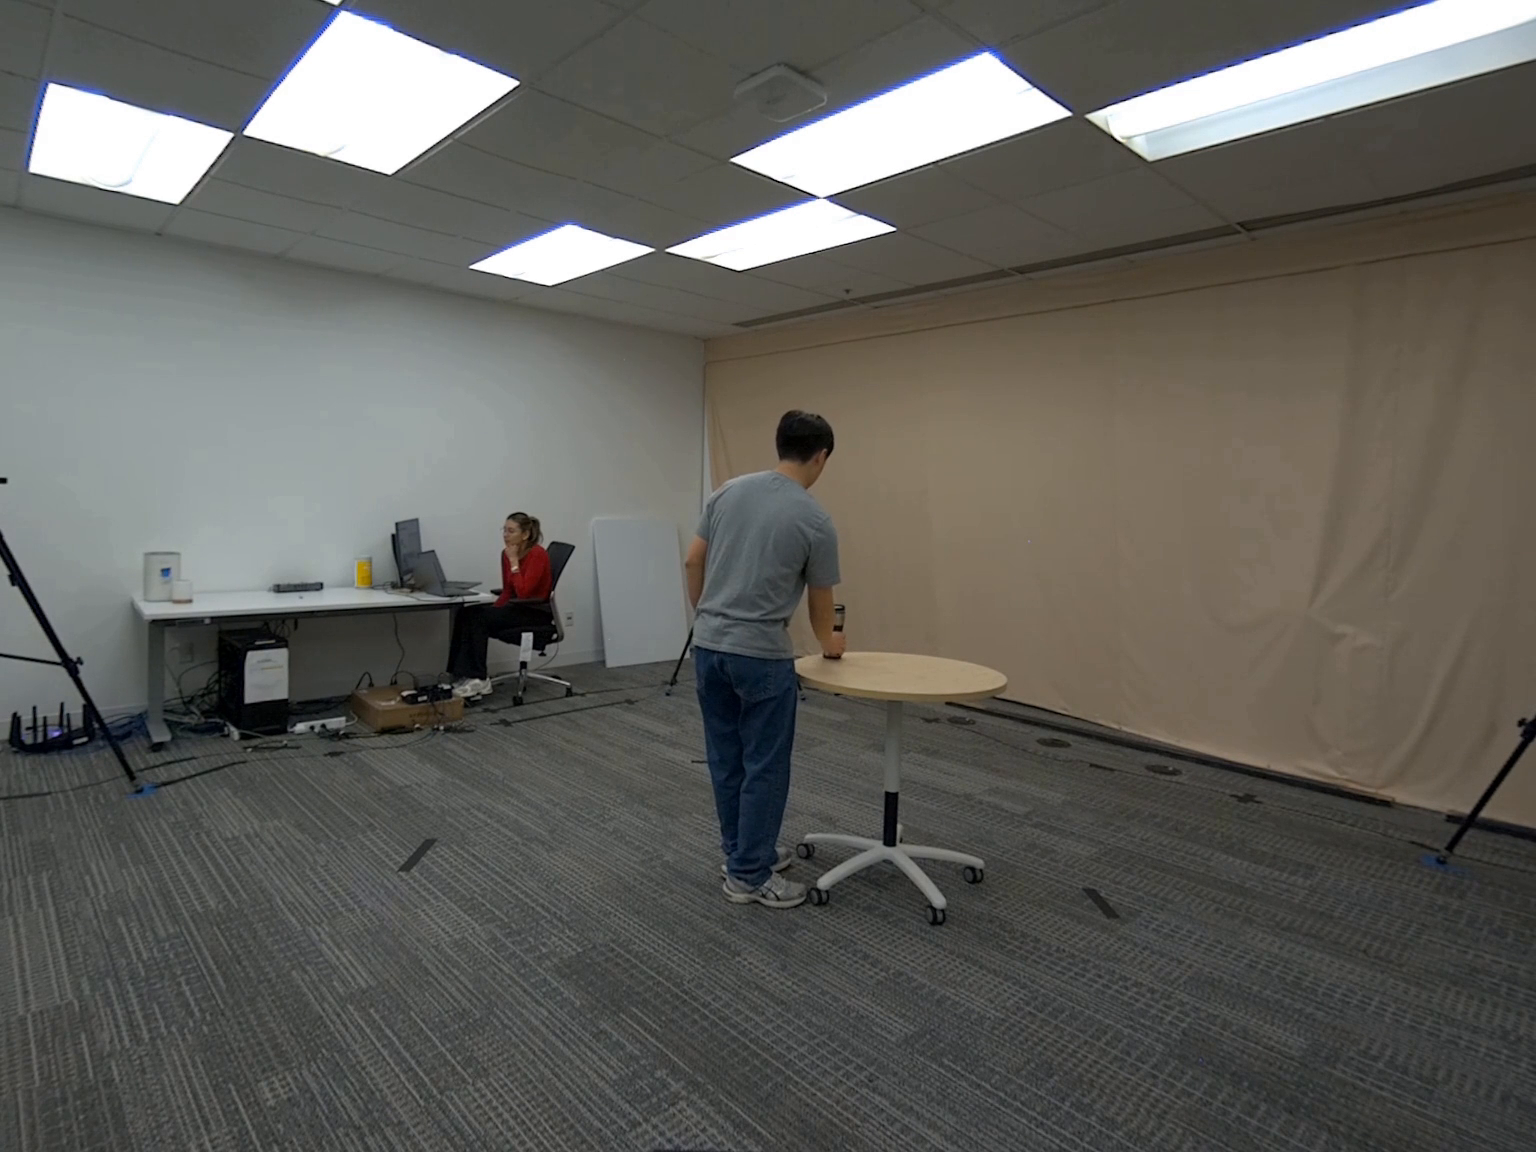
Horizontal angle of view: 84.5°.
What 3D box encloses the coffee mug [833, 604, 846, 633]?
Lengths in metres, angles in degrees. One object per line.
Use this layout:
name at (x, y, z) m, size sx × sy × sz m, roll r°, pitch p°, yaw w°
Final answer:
coffee mug at (0.266, 0.217, 3.280) m, size 0.089 × 0.202 × 0.120 m, roll 2°, pitch 4°, yaw 21°
